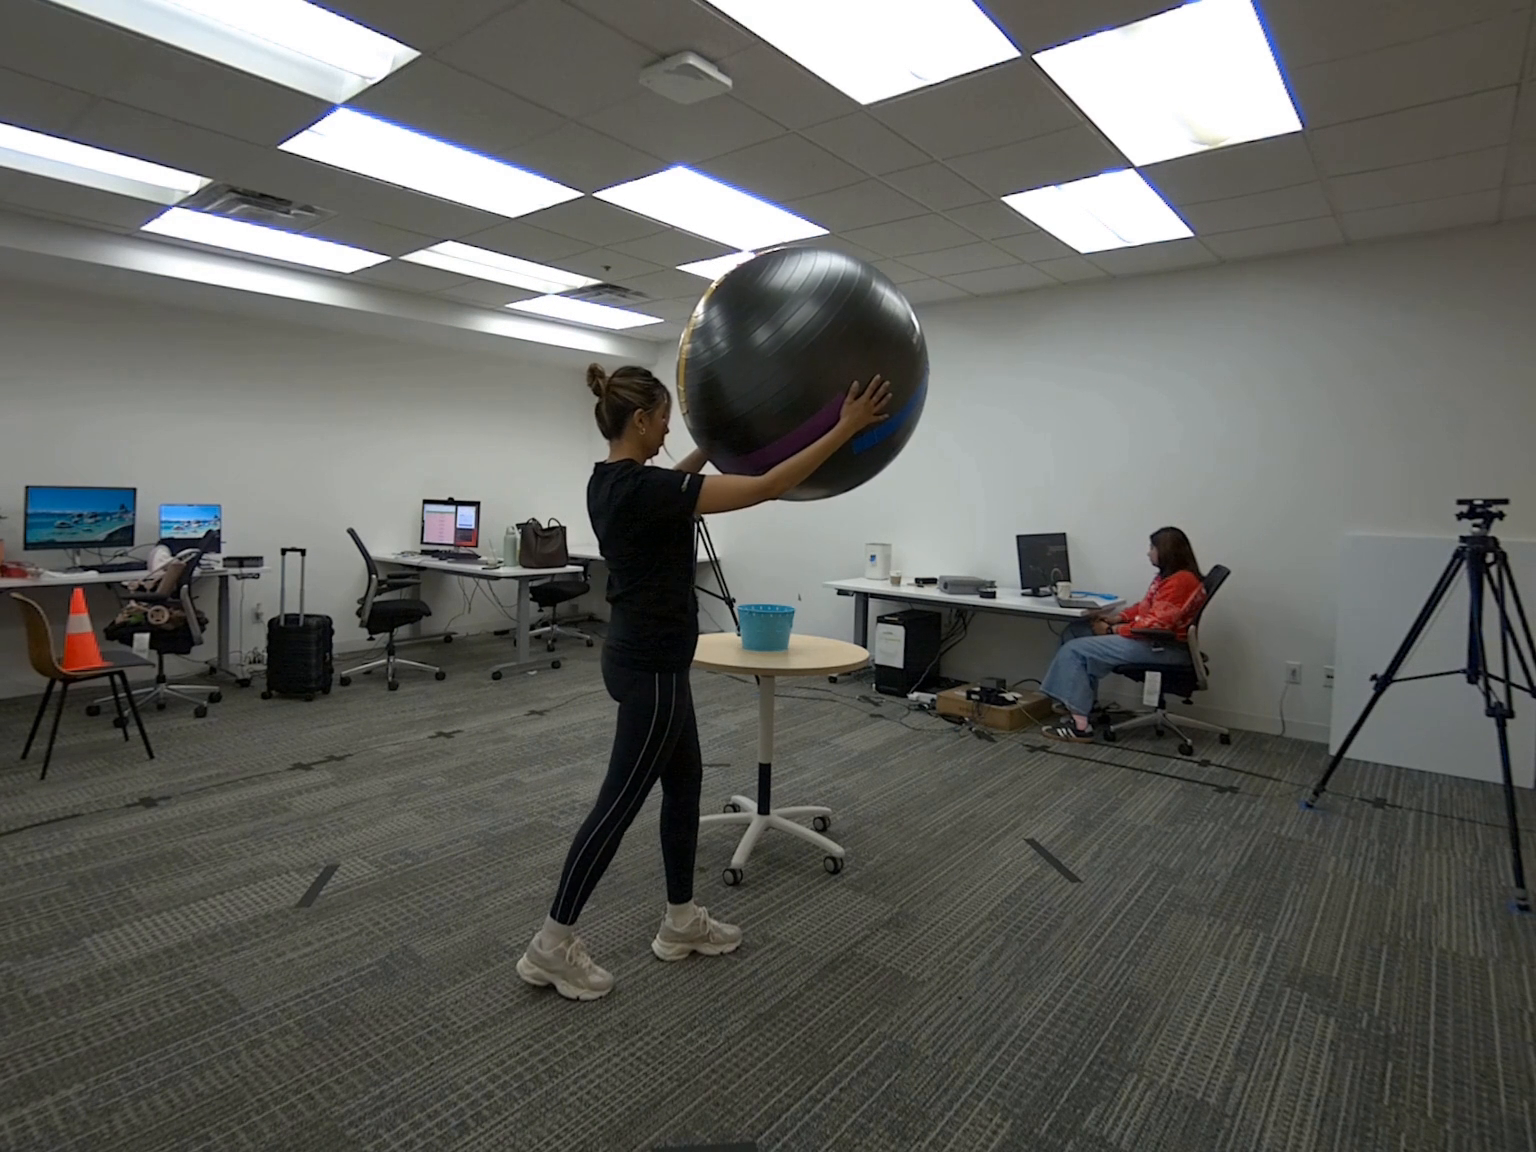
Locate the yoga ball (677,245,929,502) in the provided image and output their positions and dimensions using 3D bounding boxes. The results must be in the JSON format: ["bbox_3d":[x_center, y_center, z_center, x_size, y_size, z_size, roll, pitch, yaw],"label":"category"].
[{"bbox_3d":[0.101,-0.603,2.576,0.757,0.756,0.762,1,4,-2],"label":"yoga ball"}]
